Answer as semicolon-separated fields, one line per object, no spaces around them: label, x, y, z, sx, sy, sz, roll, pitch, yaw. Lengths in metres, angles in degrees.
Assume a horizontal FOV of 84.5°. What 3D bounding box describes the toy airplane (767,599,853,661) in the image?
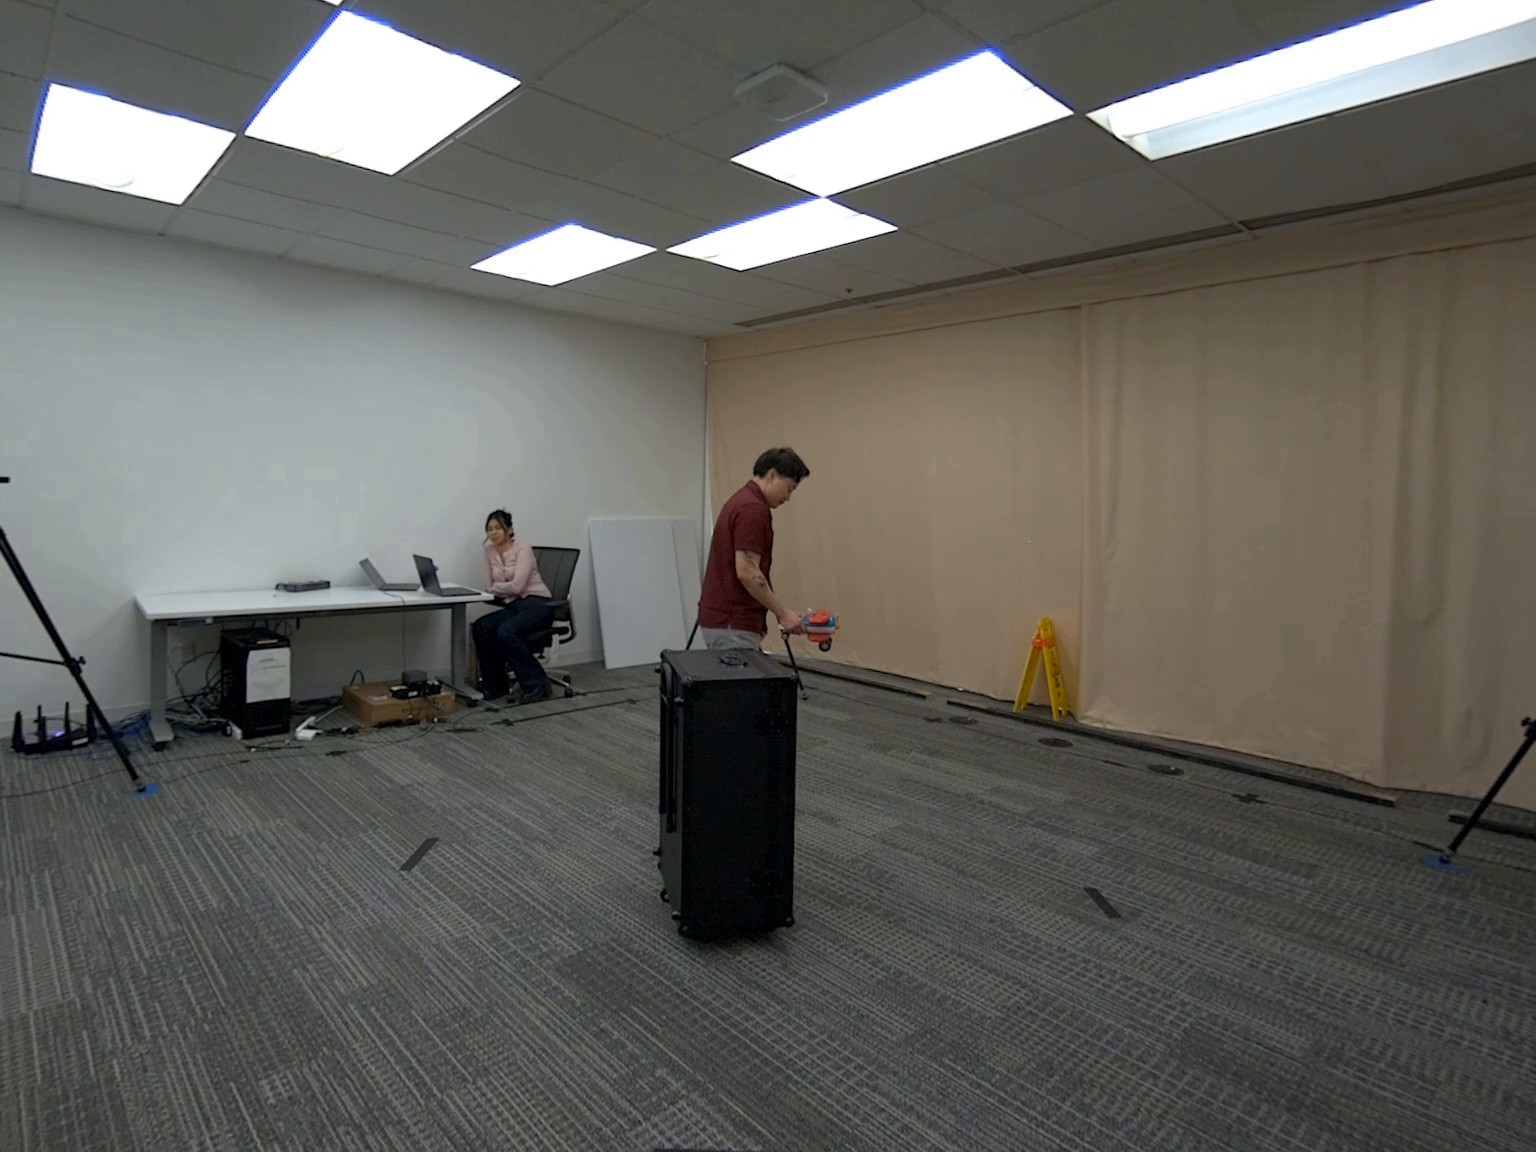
toy airplane;0.175;0.228;3.667;0.255;0.155;0.257;9;12;-21
